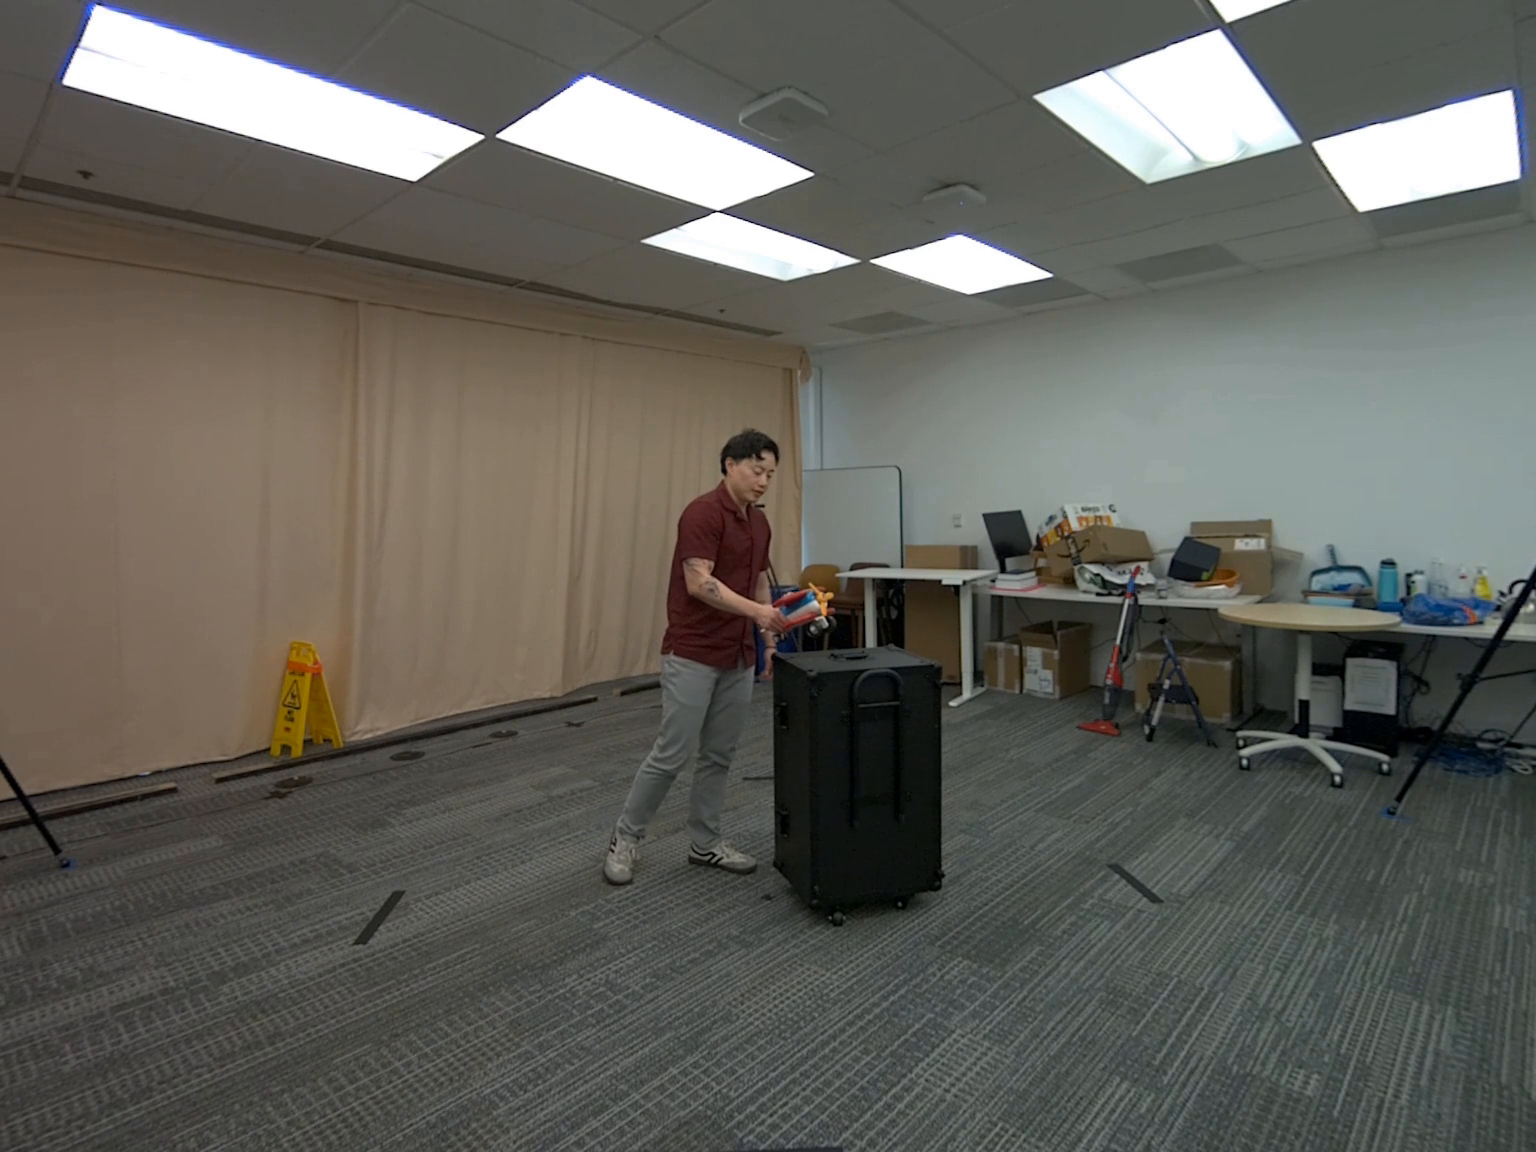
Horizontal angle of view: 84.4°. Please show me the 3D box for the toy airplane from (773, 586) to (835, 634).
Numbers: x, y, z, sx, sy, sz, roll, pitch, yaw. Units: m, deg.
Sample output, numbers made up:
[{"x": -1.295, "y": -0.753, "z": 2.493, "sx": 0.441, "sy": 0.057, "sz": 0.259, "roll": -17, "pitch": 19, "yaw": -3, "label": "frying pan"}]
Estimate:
[{"x": 0.100, "y": 0.136, "z": 2.807, "sx": 0.262, "sy": 0.157, "sz": 0.248, "roll": -13, "pitch": -2, "yaw": 11, "label": "toy airplane"}]
